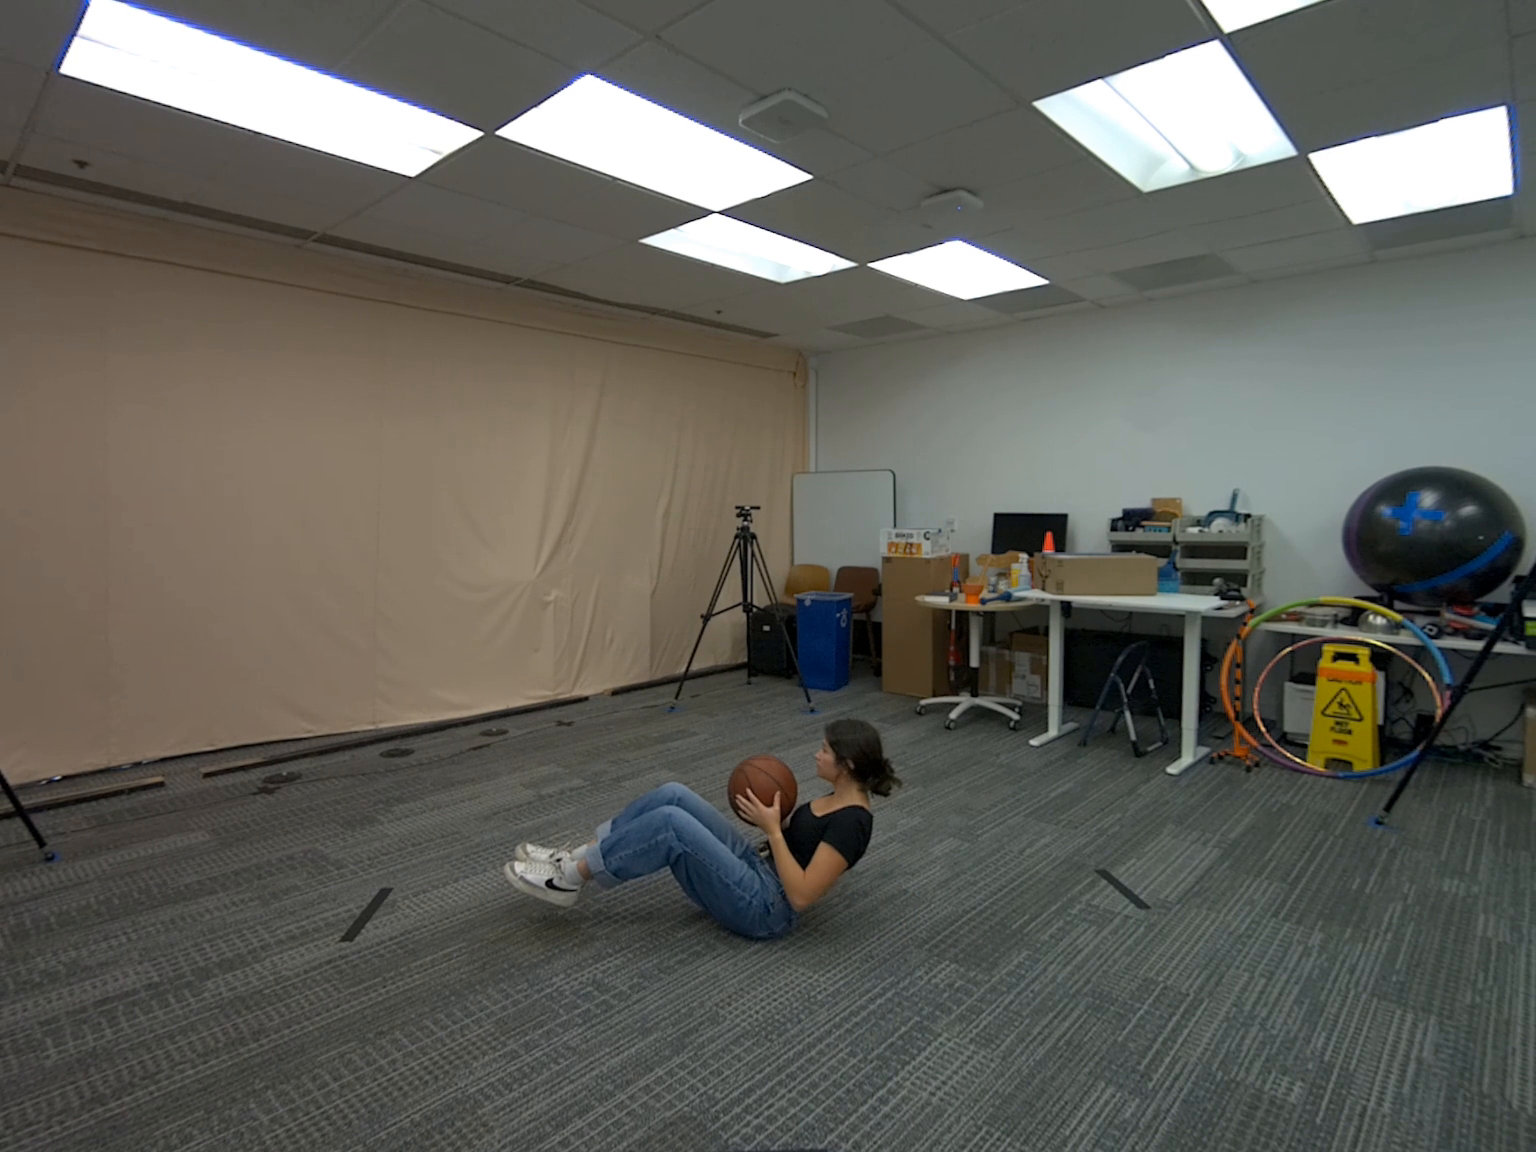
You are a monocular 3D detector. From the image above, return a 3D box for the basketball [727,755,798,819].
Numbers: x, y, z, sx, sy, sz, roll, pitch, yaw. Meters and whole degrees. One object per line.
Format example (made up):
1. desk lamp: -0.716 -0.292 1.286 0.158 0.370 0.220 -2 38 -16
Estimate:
1. basketball: -0.017 0.736 2.871 0.236 0.235 0.237 0 4 -2
